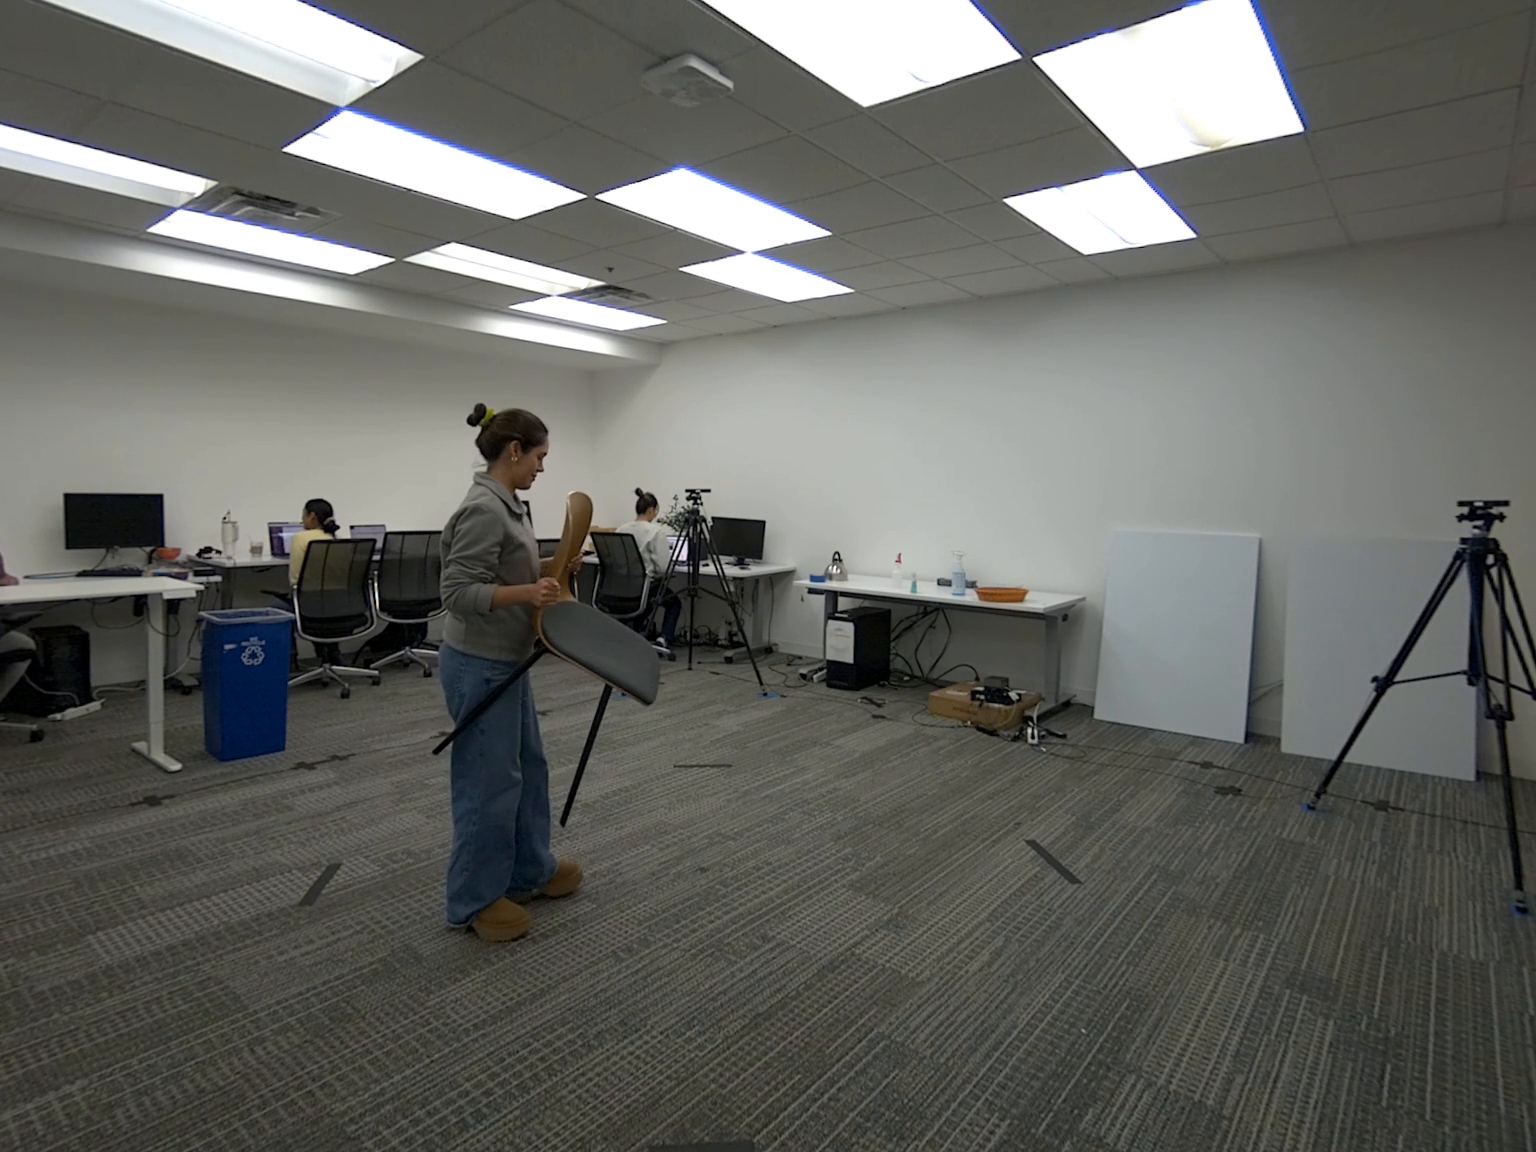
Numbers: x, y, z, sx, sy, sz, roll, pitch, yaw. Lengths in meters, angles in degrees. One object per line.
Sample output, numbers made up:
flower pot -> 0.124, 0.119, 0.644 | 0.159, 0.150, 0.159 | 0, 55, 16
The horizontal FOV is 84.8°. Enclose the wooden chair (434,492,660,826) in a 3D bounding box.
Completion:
wooden chair -> -0.592, 0.247, 2.675 | 0.518, 0.874, 0.485 | 27, 11, -8
